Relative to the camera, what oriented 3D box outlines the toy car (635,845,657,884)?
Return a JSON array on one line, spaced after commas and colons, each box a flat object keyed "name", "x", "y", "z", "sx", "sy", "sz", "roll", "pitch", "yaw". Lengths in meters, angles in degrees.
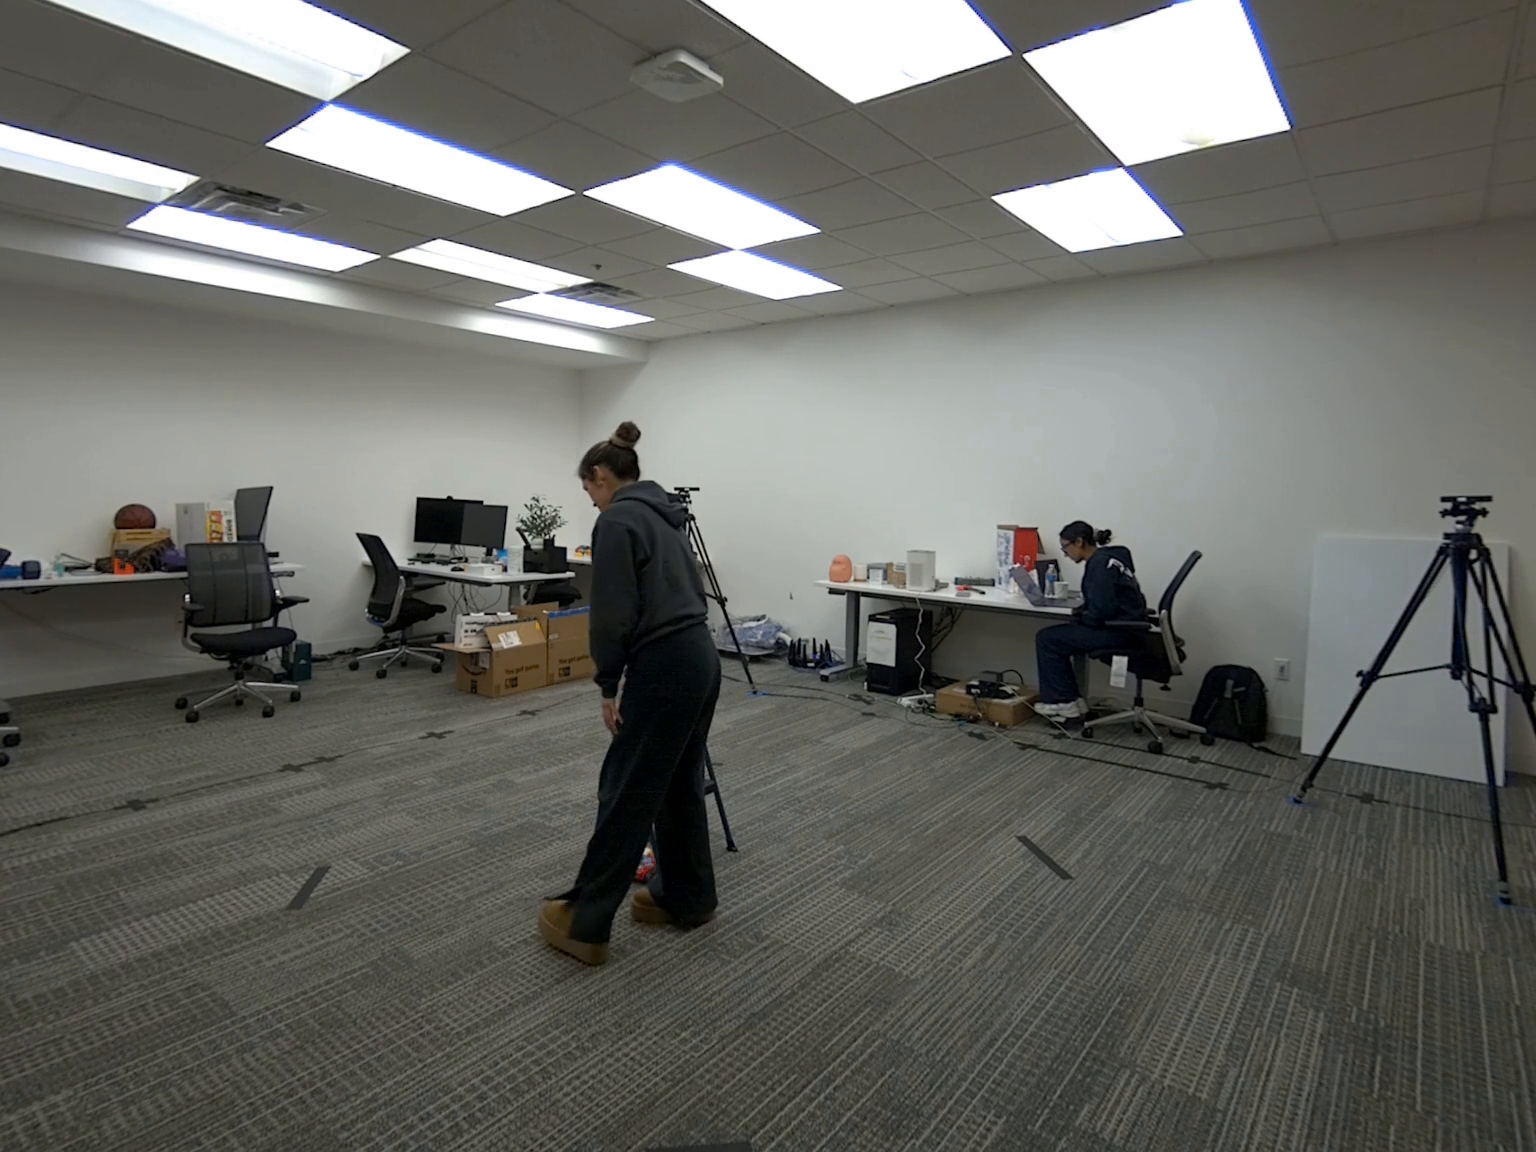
[{"name": "toy car", "x": -0.422, "y": 1.032, "z": 3.094, "sx": 0.133, "sy": 0.082, "sz": 0.252, "roll": 2, "pitch": 17, "yaw": 24}]
